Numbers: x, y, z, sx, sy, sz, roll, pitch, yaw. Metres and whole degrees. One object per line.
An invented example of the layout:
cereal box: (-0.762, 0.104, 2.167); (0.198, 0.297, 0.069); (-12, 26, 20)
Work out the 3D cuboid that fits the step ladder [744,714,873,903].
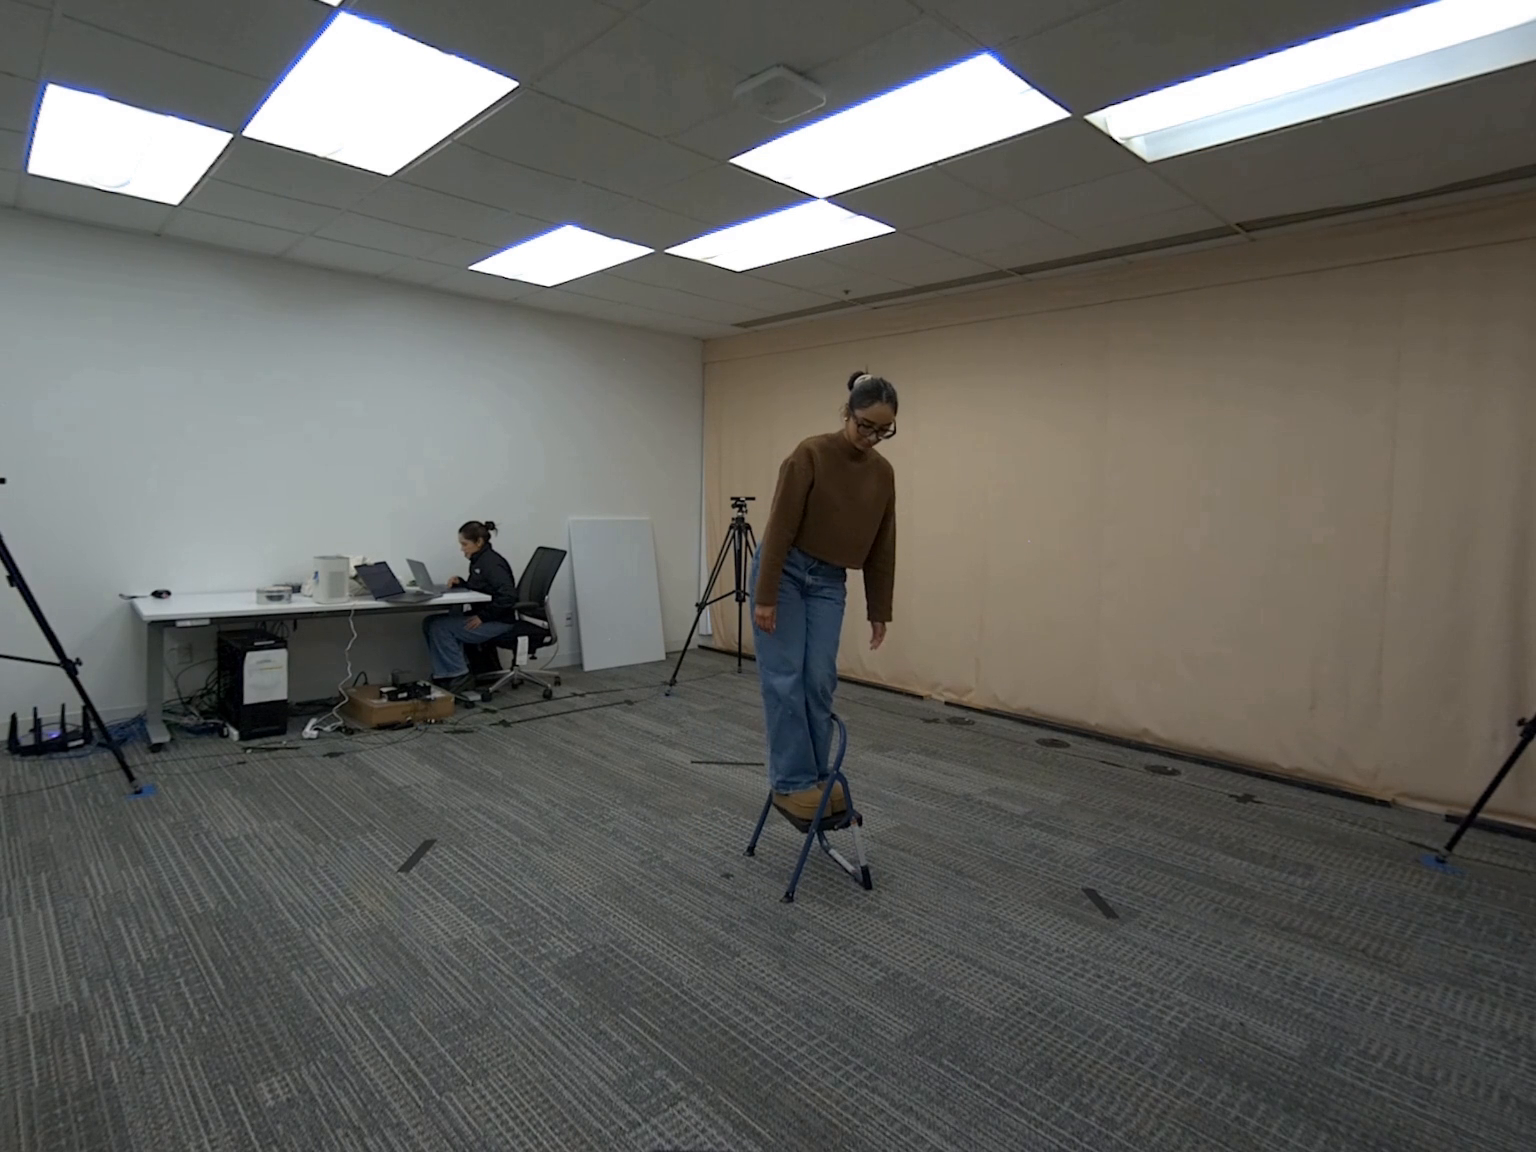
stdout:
step ladder: (0.143, 0.812, 3.139); (0.344, 0.604, 0.438); (0, 4, -21)
